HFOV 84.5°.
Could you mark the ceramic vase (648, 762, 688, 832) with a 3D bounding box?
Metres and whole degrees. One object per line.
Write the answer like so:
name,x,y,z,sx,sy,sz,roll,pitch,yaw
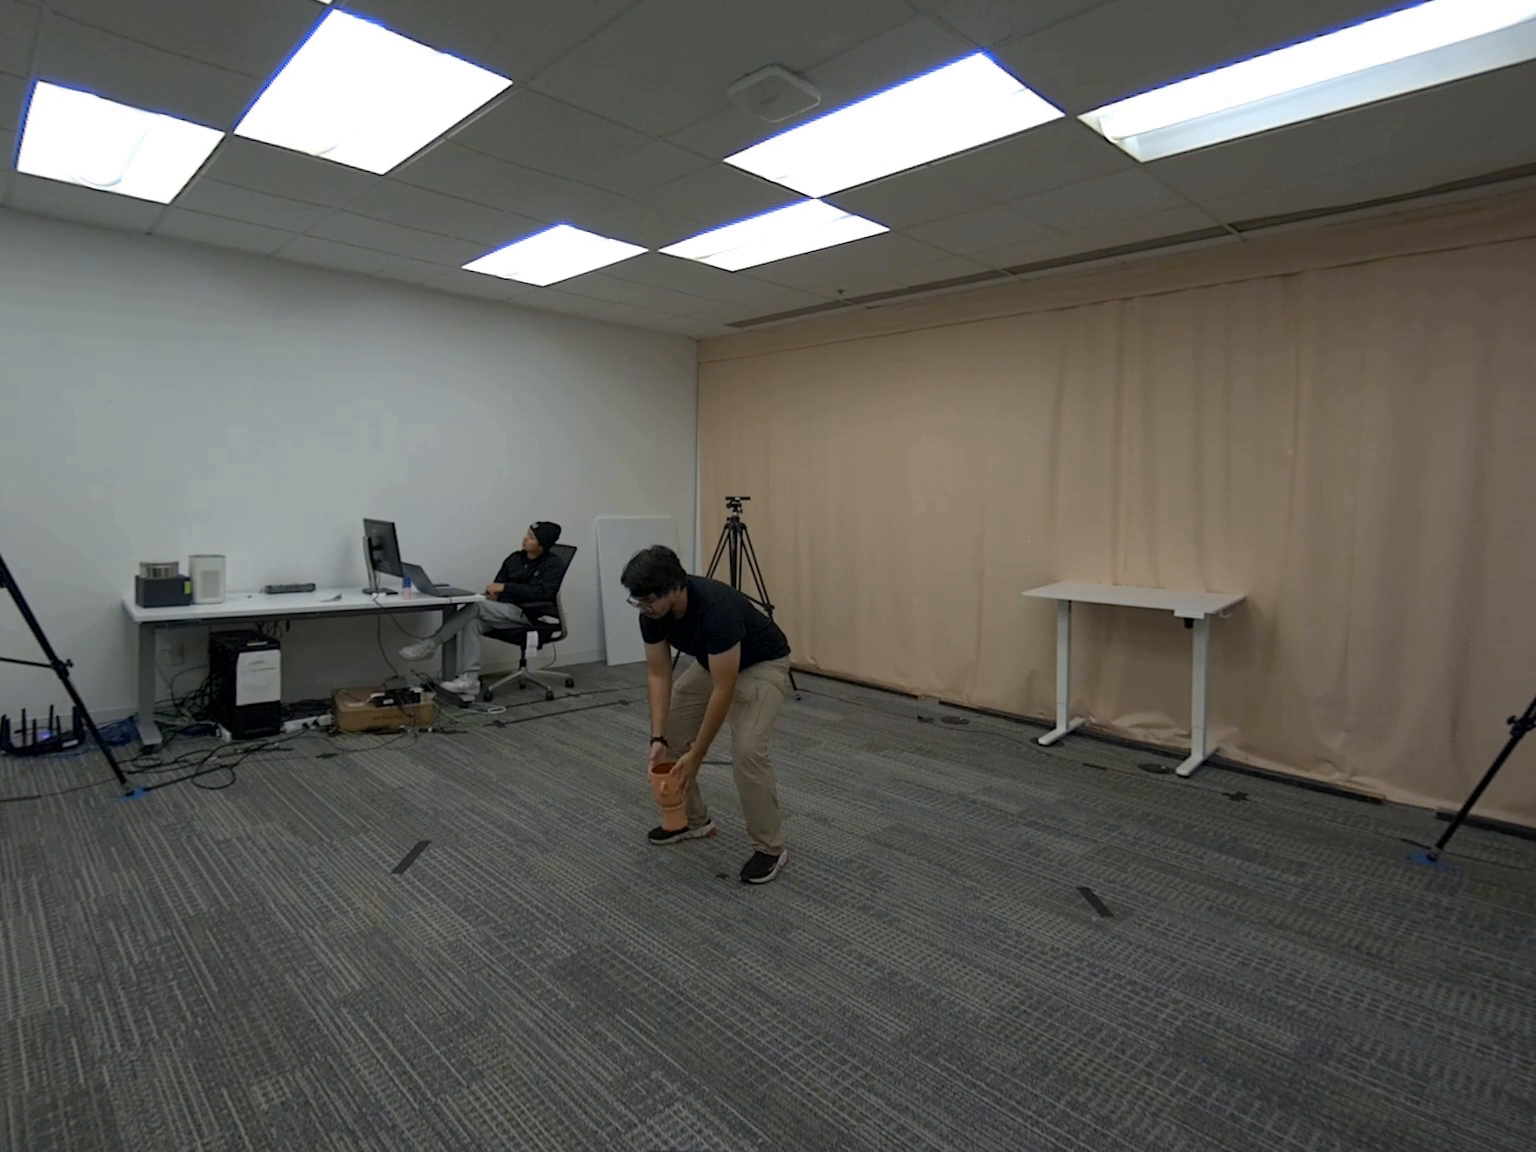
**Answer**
ceramic vase,-0.363,0.811,3.104,0.156,0.218,0.138,-13,13,-40
